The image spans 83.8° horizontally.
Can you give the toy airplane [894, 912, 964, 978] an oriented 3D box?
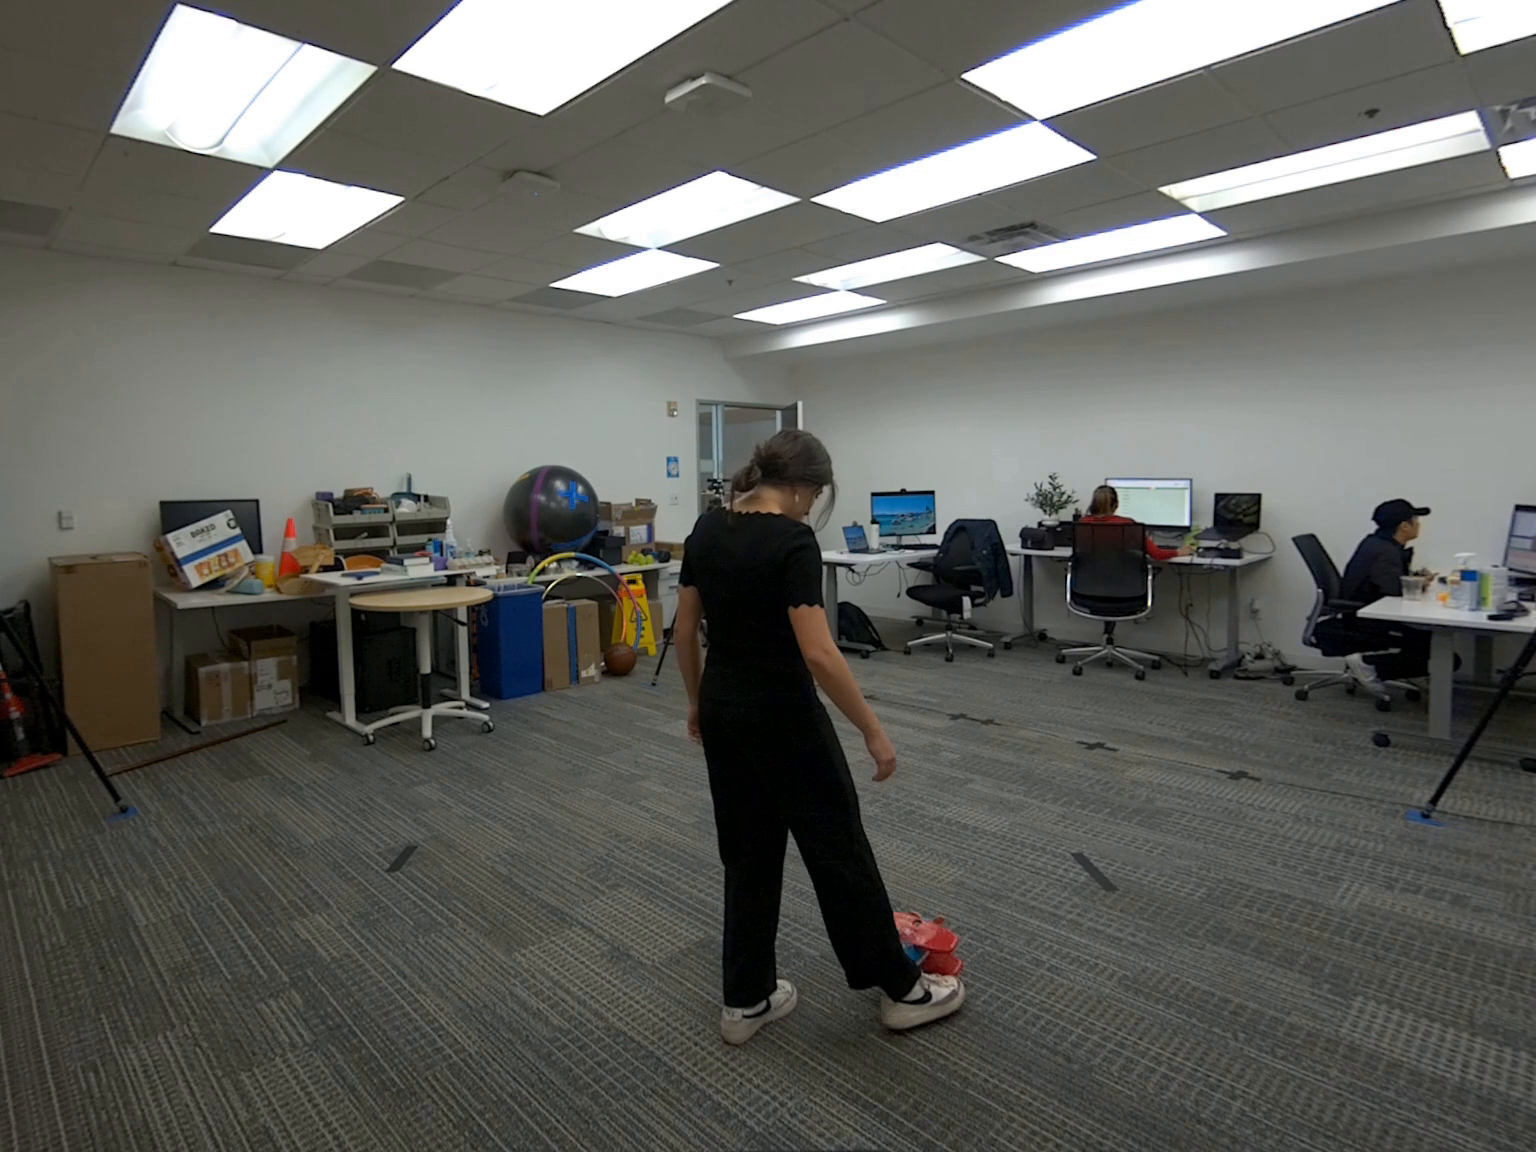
[{"bbox_3d":[0.410,1.051,2.340,0.254,0.156,0.256,-2,3,14],"label":"toy airplane"}]
